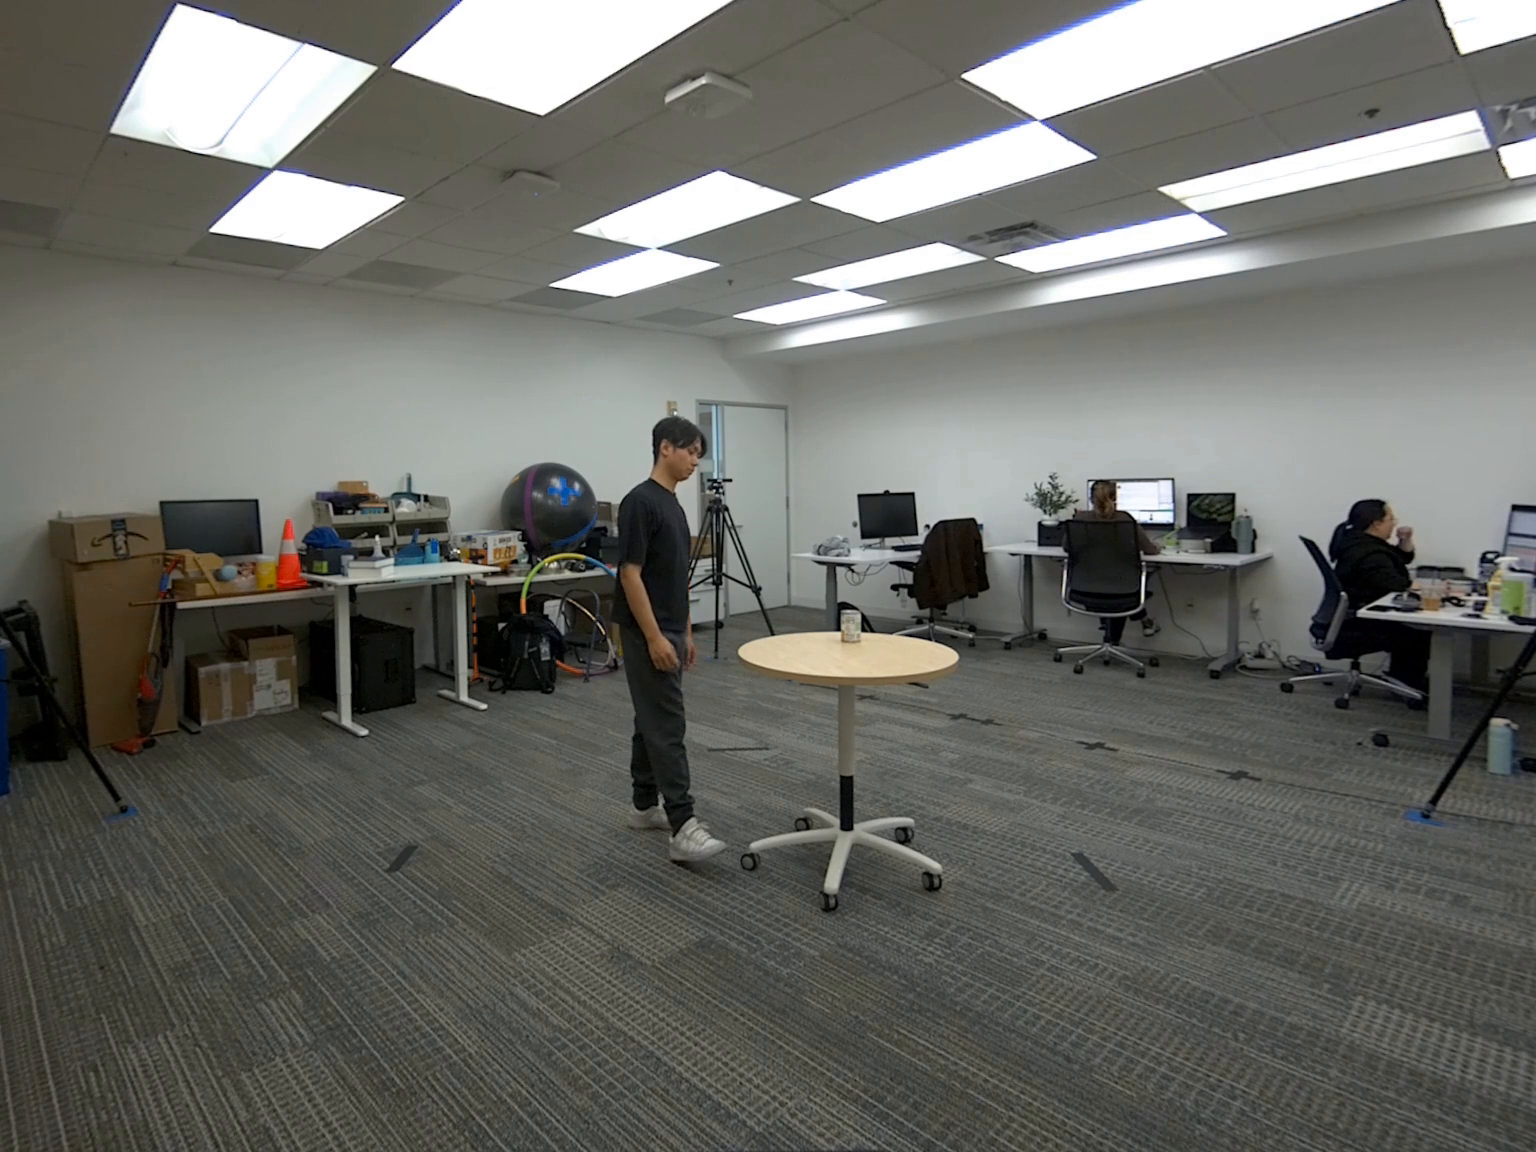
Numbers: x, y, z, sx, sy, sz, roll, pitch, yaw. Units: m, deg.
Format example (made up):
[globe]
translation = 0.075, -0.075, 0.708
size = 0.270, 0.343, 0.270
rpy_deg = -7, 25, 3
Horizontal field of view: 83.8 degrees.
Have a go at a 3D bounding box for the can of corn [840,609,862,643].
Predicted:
[can of corn]
translation = 0.307, 0.186, 3.200
size = 0.074, 0.111, 0.074
rpy_deg = 2, 3, -2
